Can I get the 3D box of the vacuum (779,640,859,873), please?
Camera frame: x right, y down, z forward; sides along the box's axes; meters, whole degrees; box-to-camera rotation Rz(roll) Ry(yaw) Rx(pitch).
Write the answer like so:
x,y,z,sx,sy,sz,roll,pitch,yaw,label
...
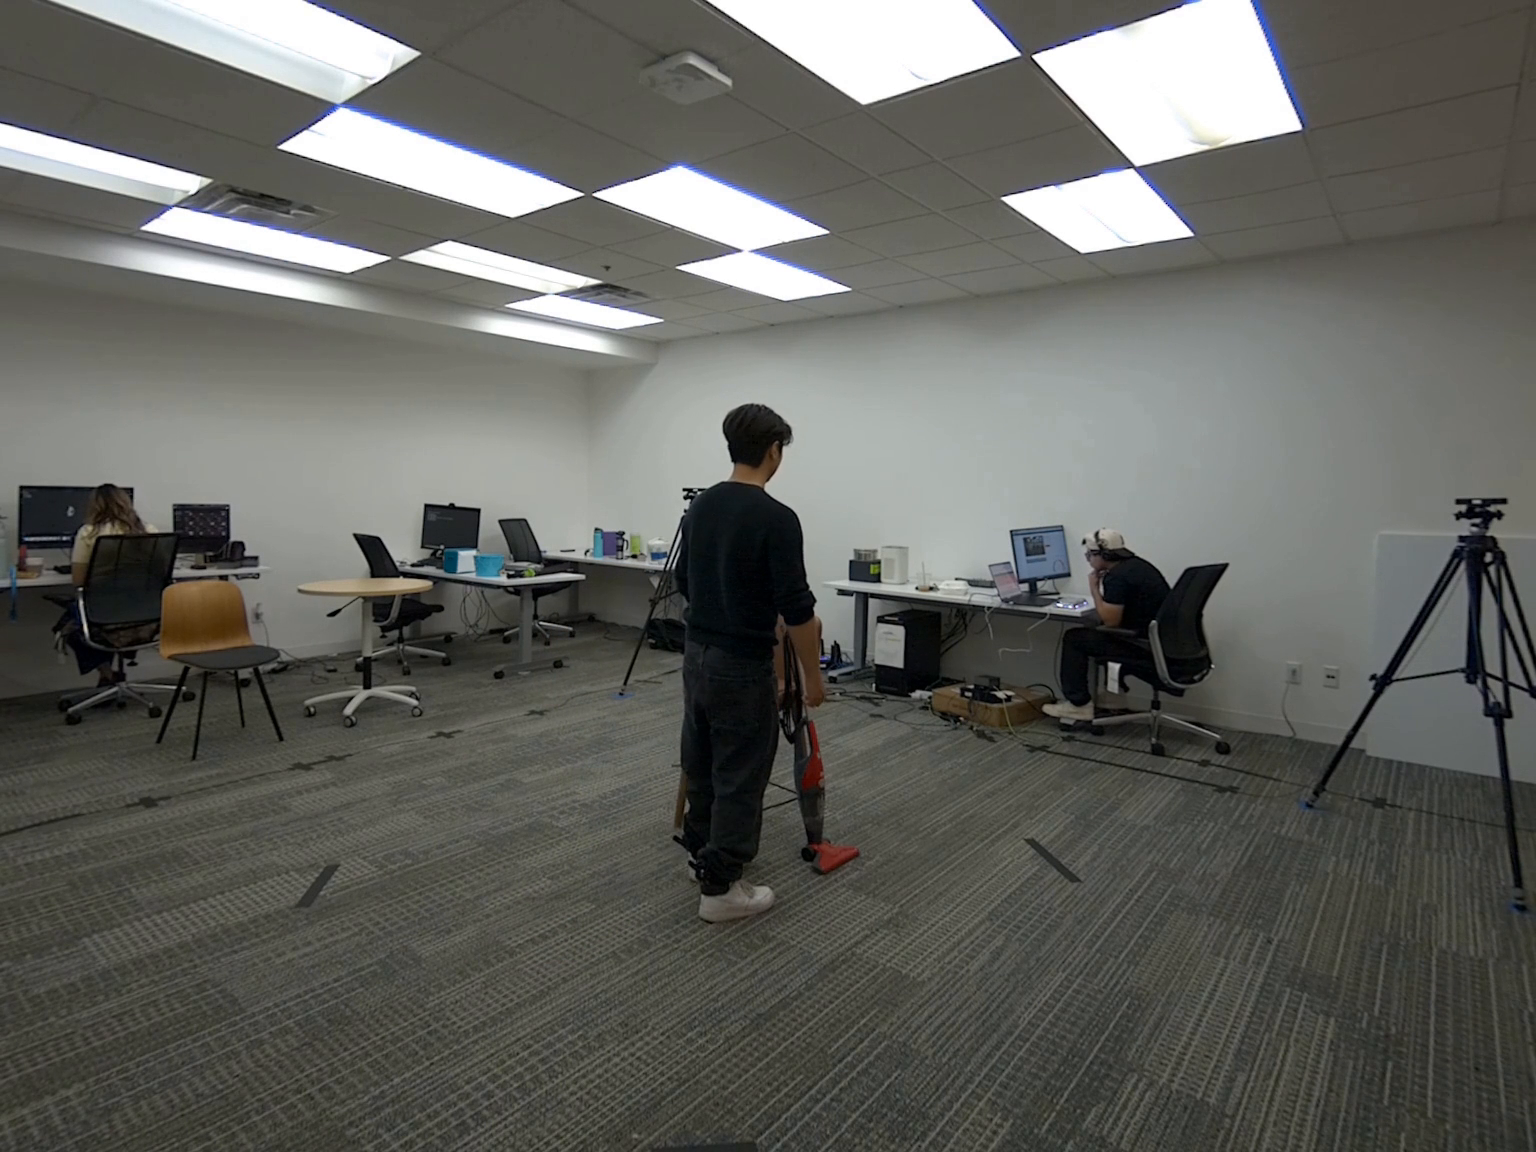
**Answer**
x,y,z,sx,sy,sz,roll,pitch,yaw,label
0.125,0.551,3.301,0.147,1.058,0.245,-16,-9,41,vacuum
